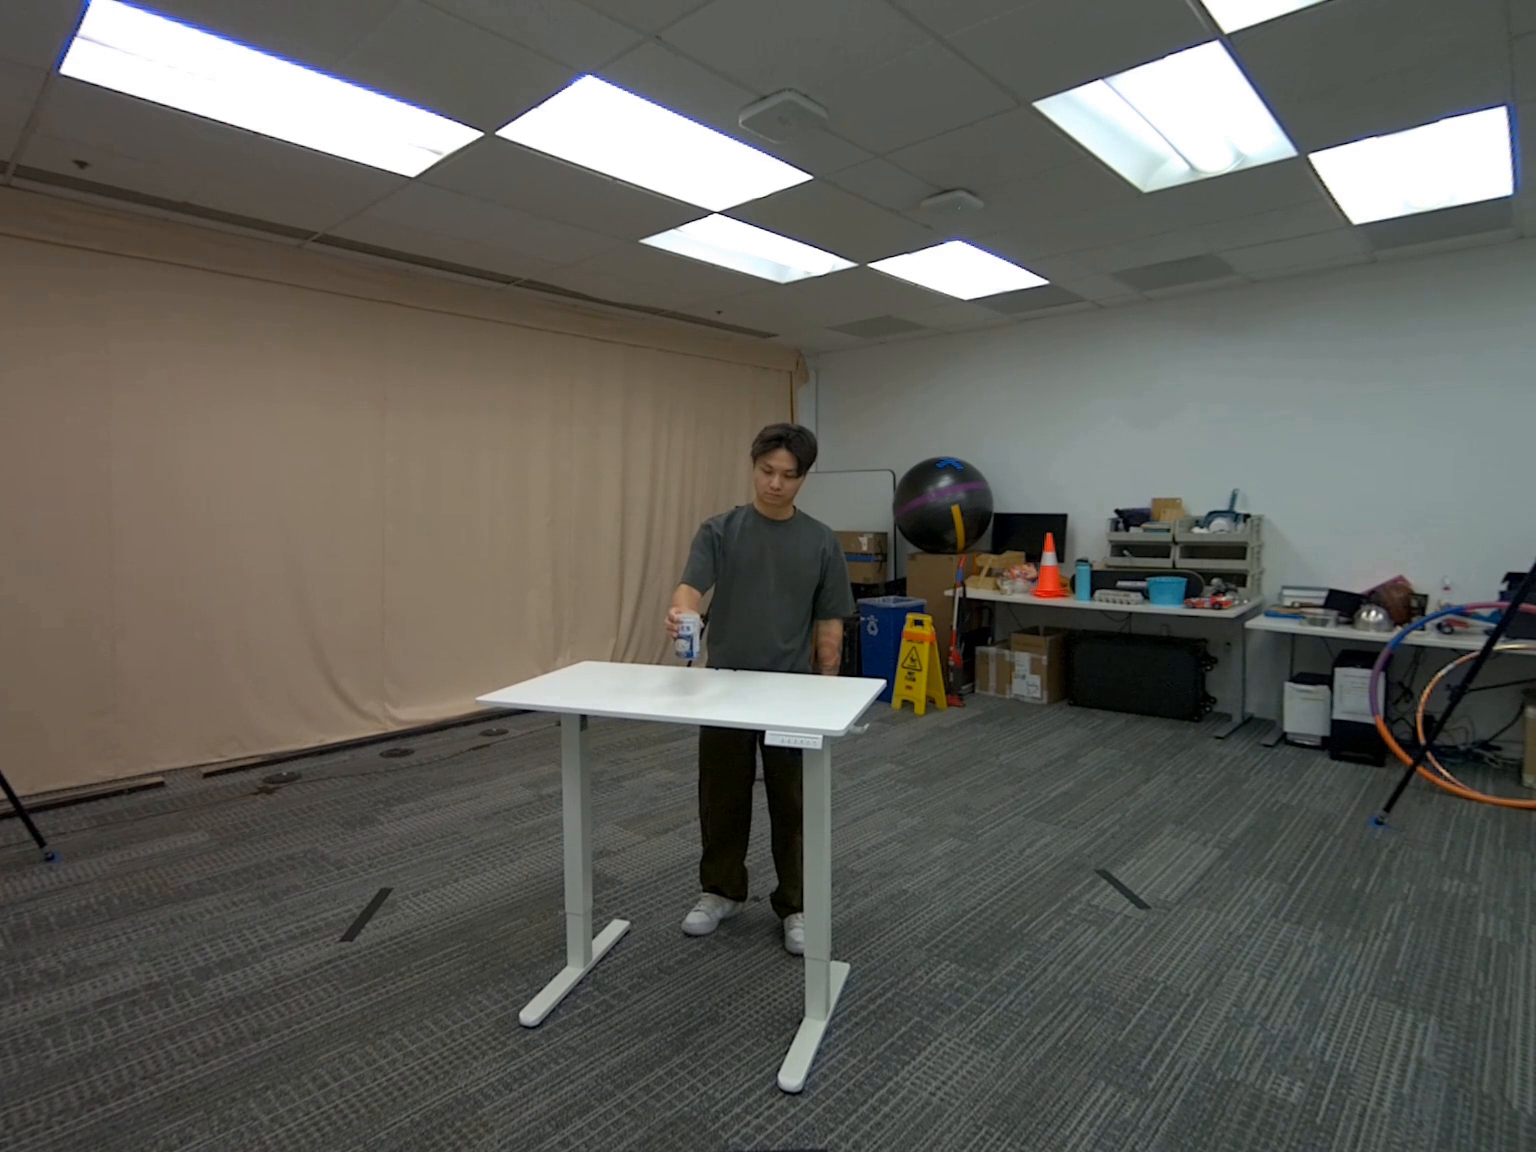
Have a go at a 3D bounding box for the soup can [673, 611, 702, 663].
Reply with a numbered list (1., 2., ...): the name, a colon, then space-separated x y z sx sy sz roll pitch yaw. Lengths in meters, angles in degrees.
1. soup can: -0.221 0.159 2.248 0.067 0.121 0.067 3 0 -2
